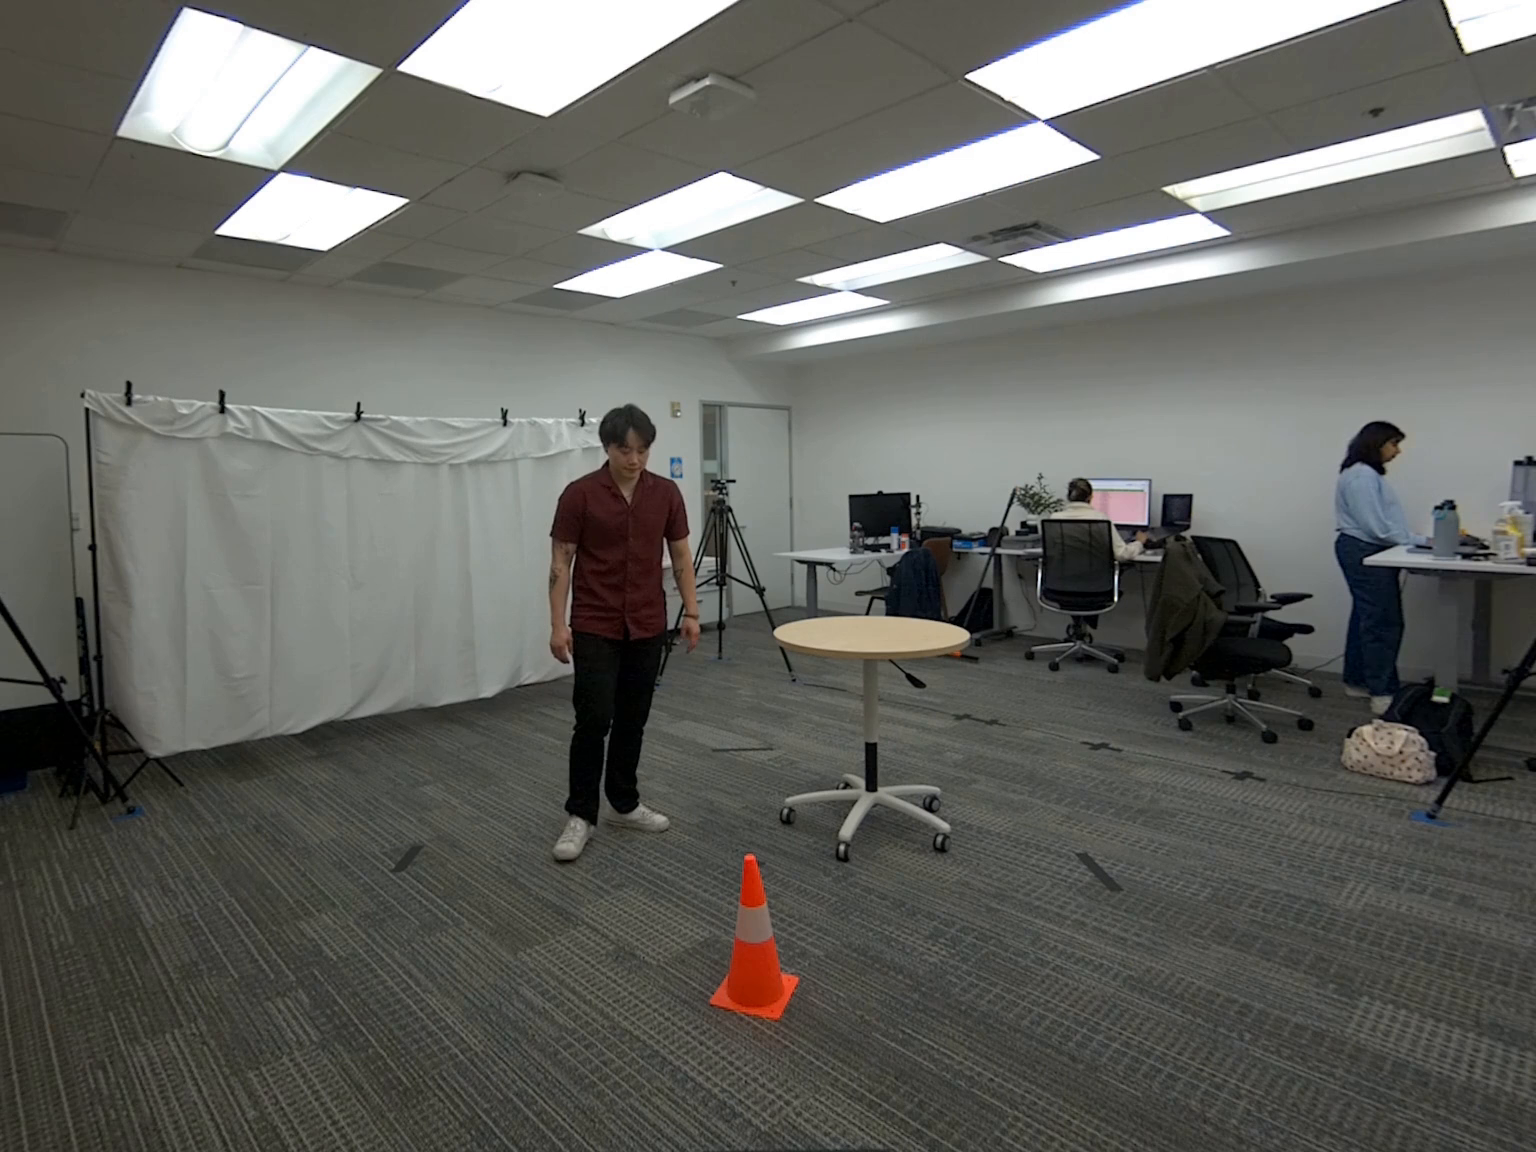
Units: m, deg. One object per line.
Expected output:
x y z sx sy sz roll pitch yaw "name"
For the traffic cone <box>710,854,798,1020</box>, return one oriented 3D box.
-0.031 0.954 2.316 0.209 0.382 0.200 0 6 22 "traffic cone"
